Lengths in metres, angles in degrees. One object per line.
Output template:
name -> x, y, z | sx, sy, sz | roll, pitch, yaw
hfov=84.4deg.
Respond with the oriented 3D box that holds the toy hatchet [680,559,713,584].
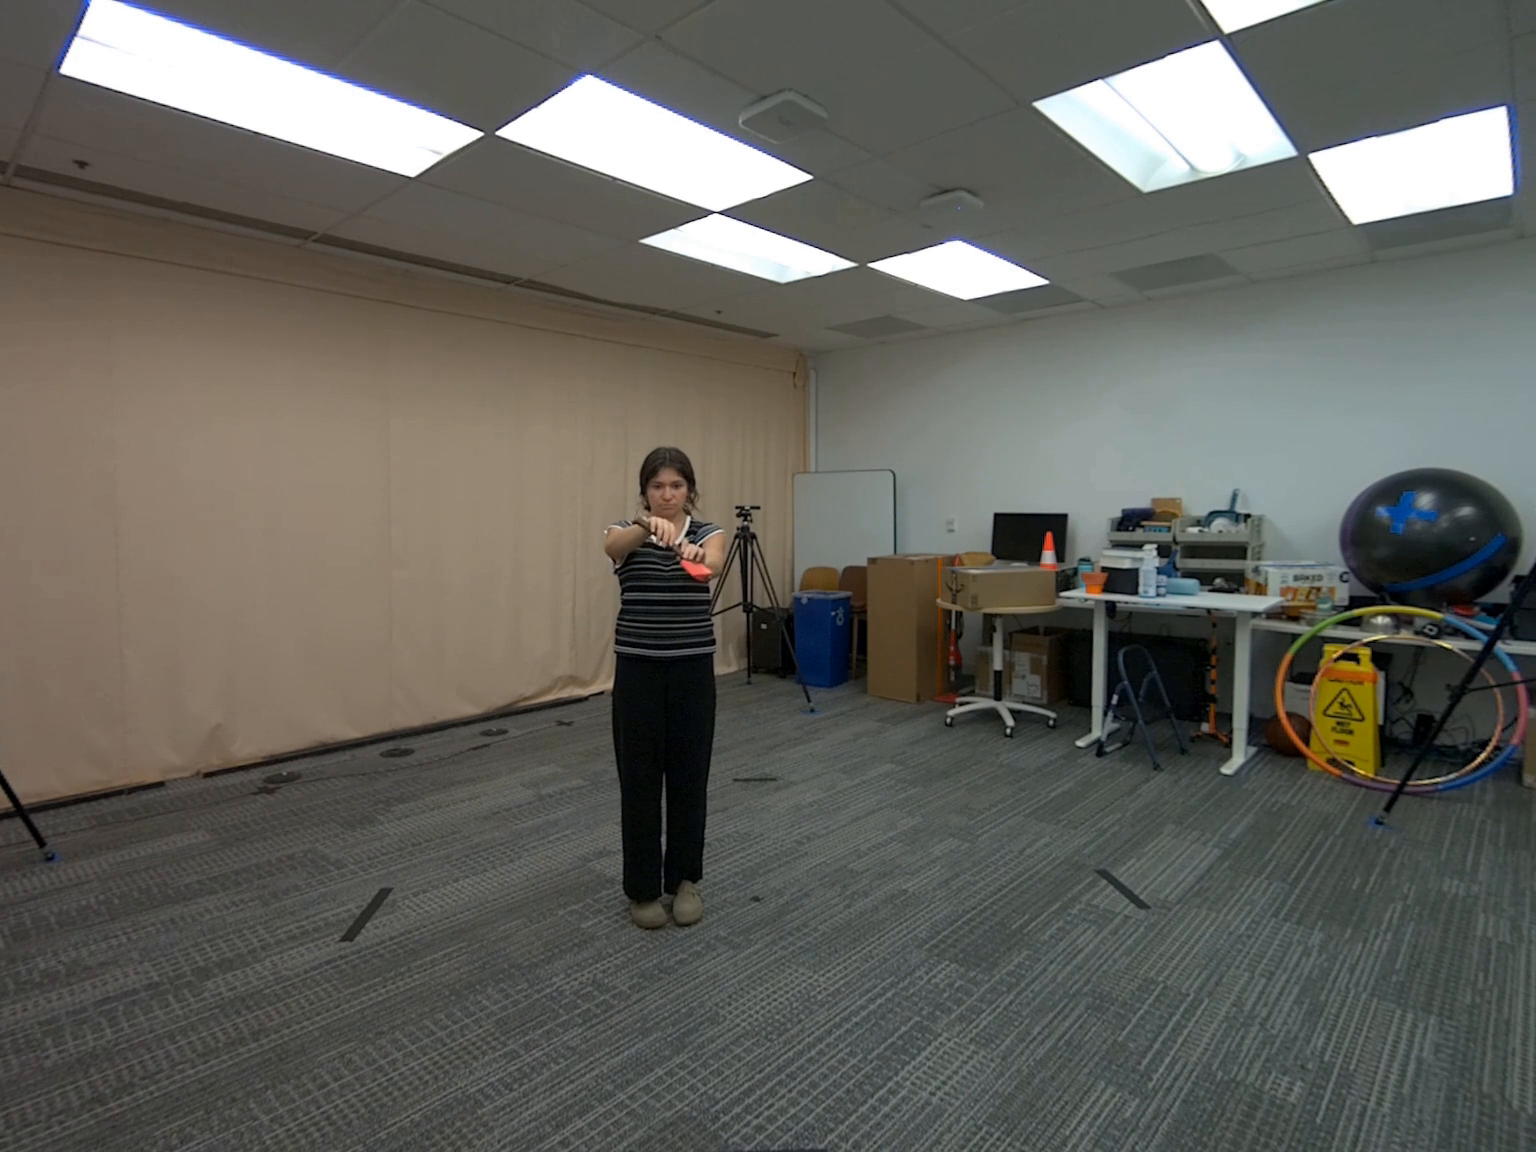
toy hatchet -> -0.268, -0.066, 2.291 | 0.270, 0.029, 0.131 | 33, 17, -1
